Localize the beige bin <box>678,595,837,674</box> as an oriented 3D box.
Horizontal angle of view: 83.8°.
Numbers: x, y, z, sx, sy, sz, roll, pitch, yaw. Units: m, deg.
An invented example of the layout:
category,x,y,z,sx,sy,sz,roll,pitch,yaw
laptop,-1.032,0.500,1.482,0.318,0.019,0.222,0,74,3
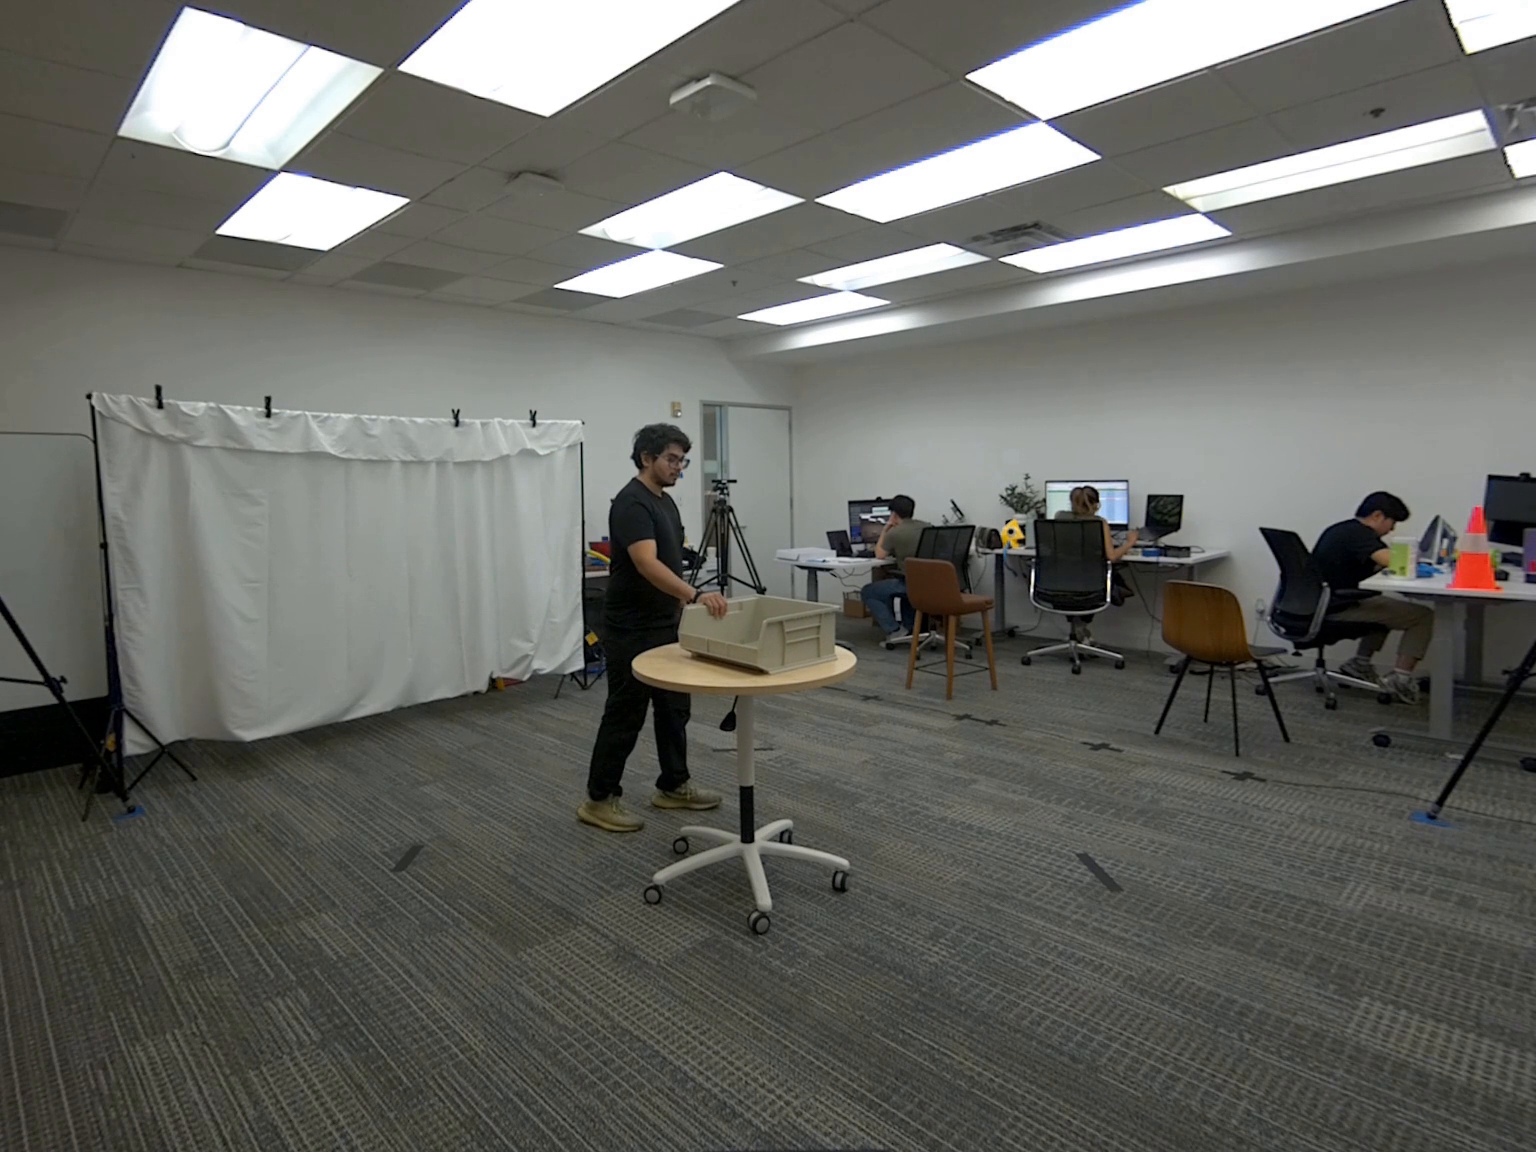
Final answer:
category,x,y,z,sx,sy,sz,roll,pitch,yaw
beige bin,-0.030,0.191,2.922,0.367,0.188,0.435,-3,5,-41
